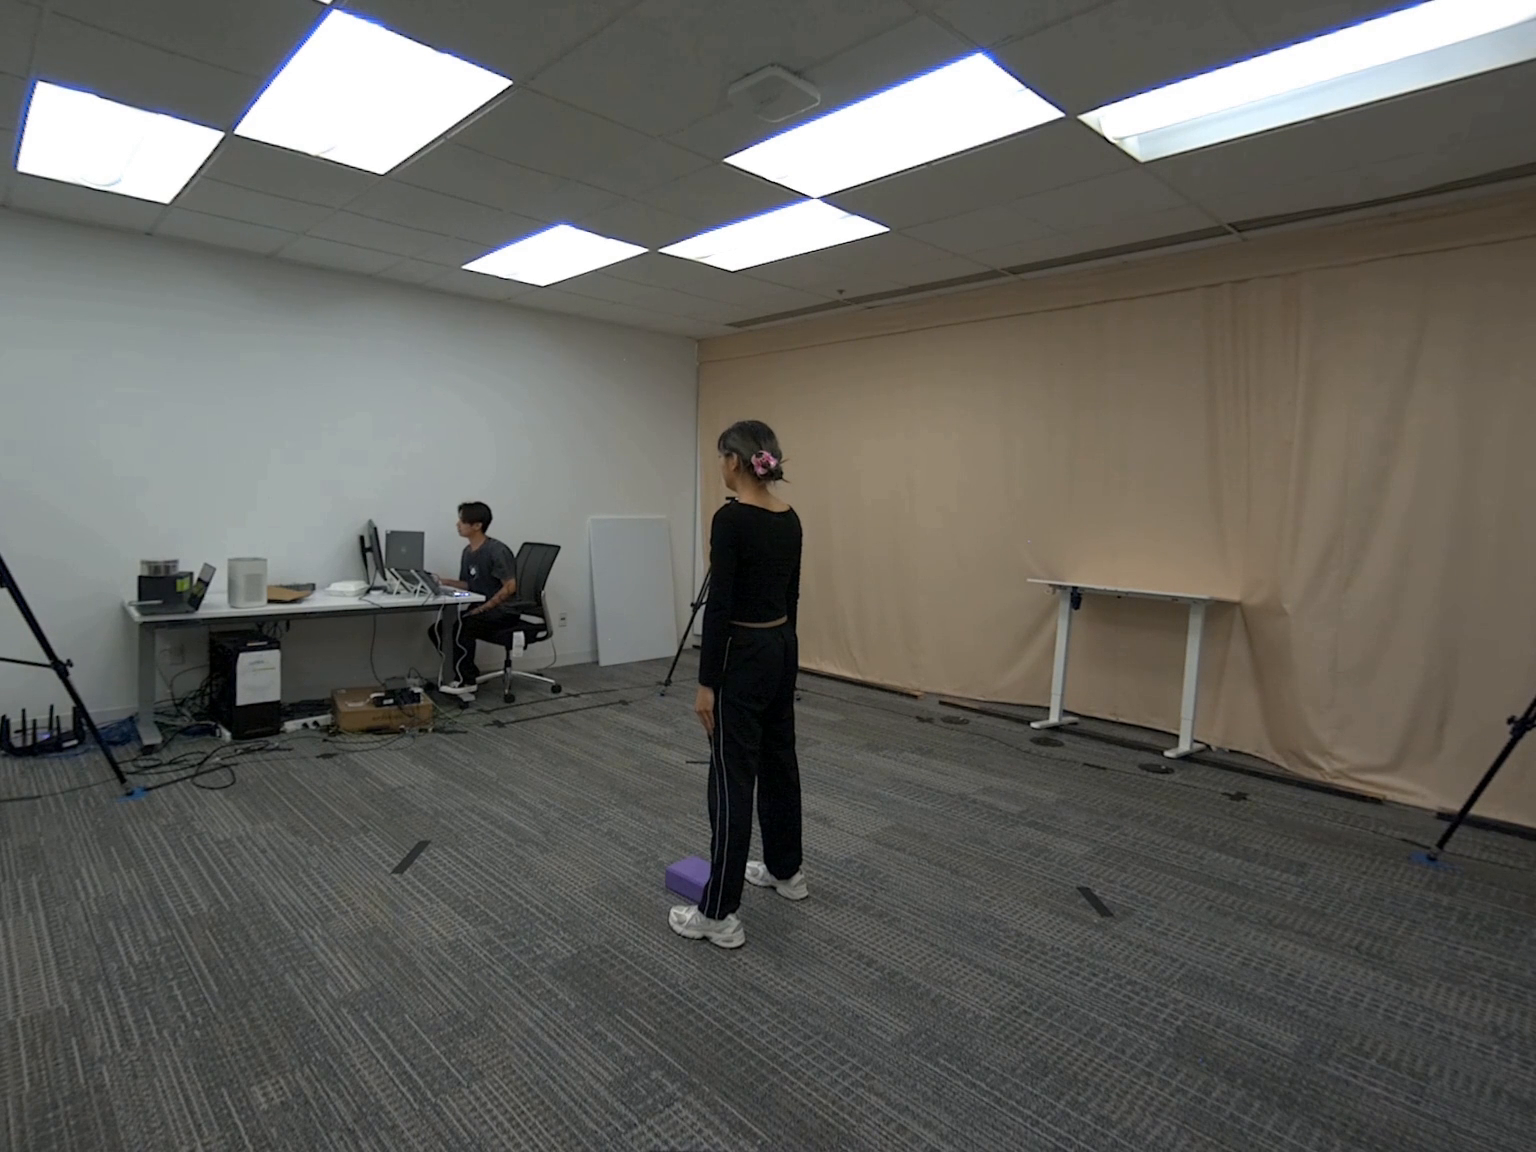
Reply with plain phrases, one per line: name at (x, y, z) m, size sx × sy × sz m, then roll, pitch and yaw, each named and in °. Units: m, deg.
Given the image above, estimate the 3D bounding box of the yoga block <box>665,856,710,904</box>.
yoga block at (-0.241, 1.074, 2.976) m, size 0.235 × 0.076 × 0.146 m, roll 5°, pitch 7°, yaw 41°
